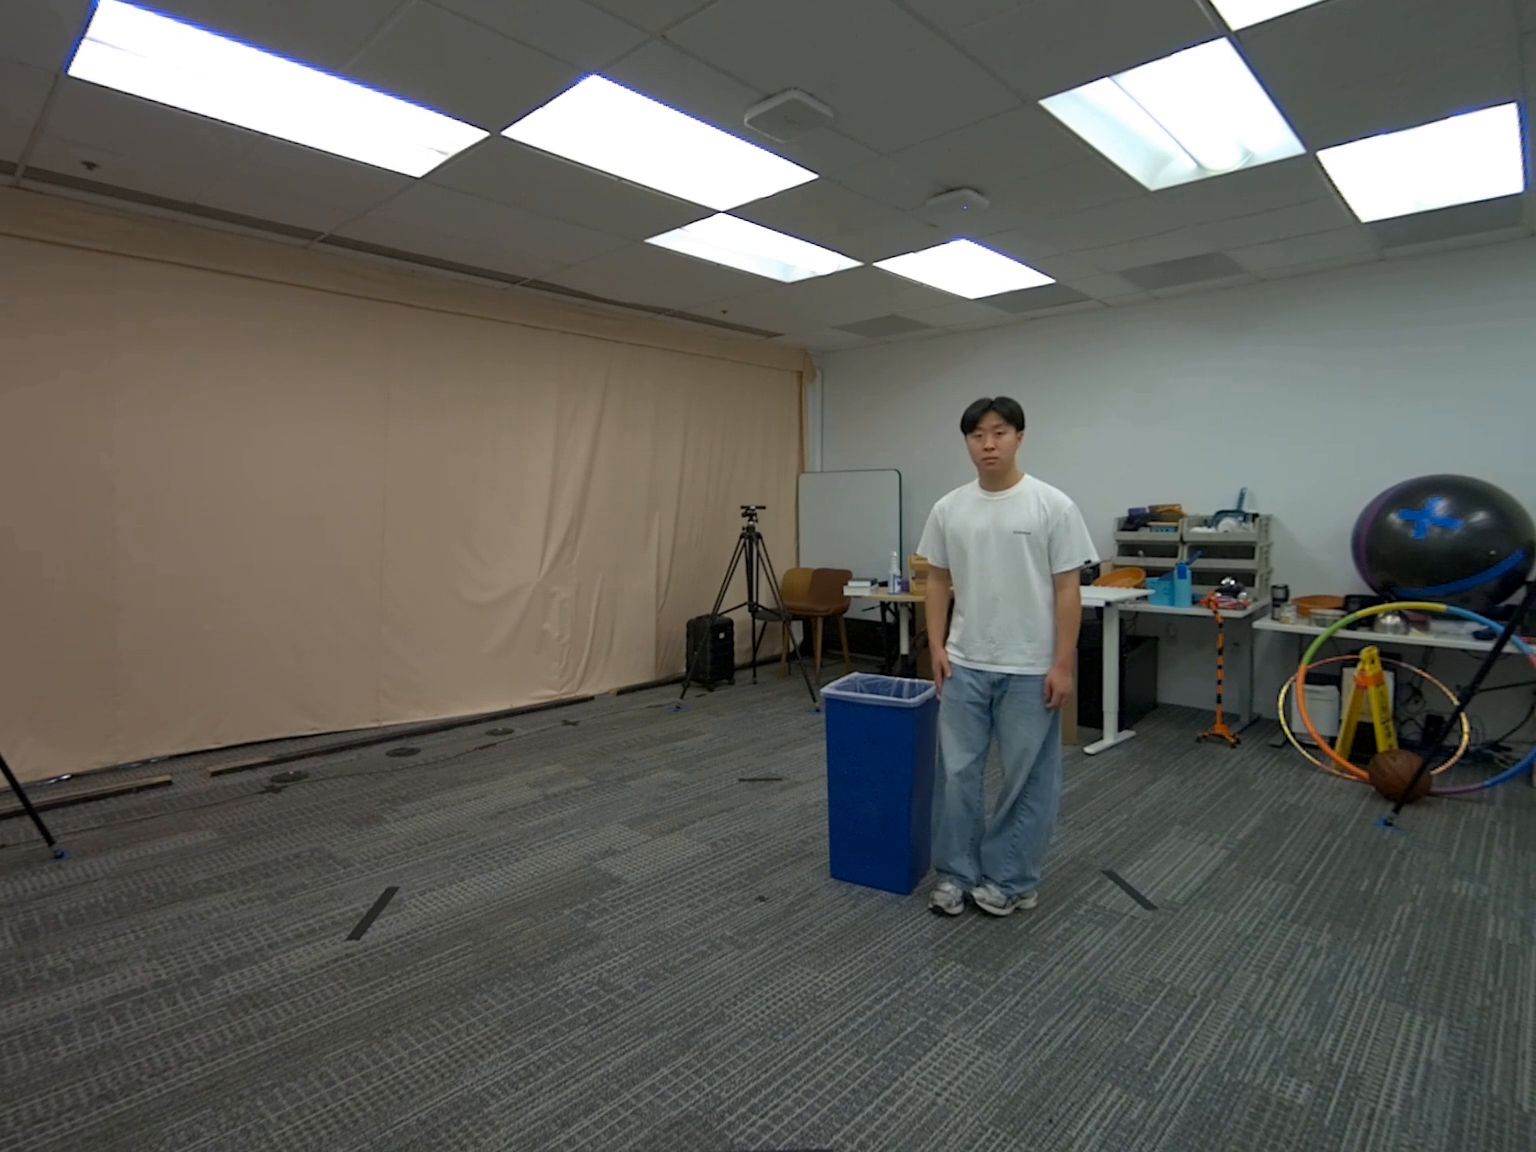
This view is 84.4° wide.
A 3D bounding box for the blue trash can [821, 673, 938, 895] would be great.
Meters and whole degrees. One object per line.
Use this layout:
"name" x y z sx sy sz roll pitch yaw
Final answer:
"blue trash can" 0.435 0.766 3.176 0.388 0.712 0.364 2 3 28
